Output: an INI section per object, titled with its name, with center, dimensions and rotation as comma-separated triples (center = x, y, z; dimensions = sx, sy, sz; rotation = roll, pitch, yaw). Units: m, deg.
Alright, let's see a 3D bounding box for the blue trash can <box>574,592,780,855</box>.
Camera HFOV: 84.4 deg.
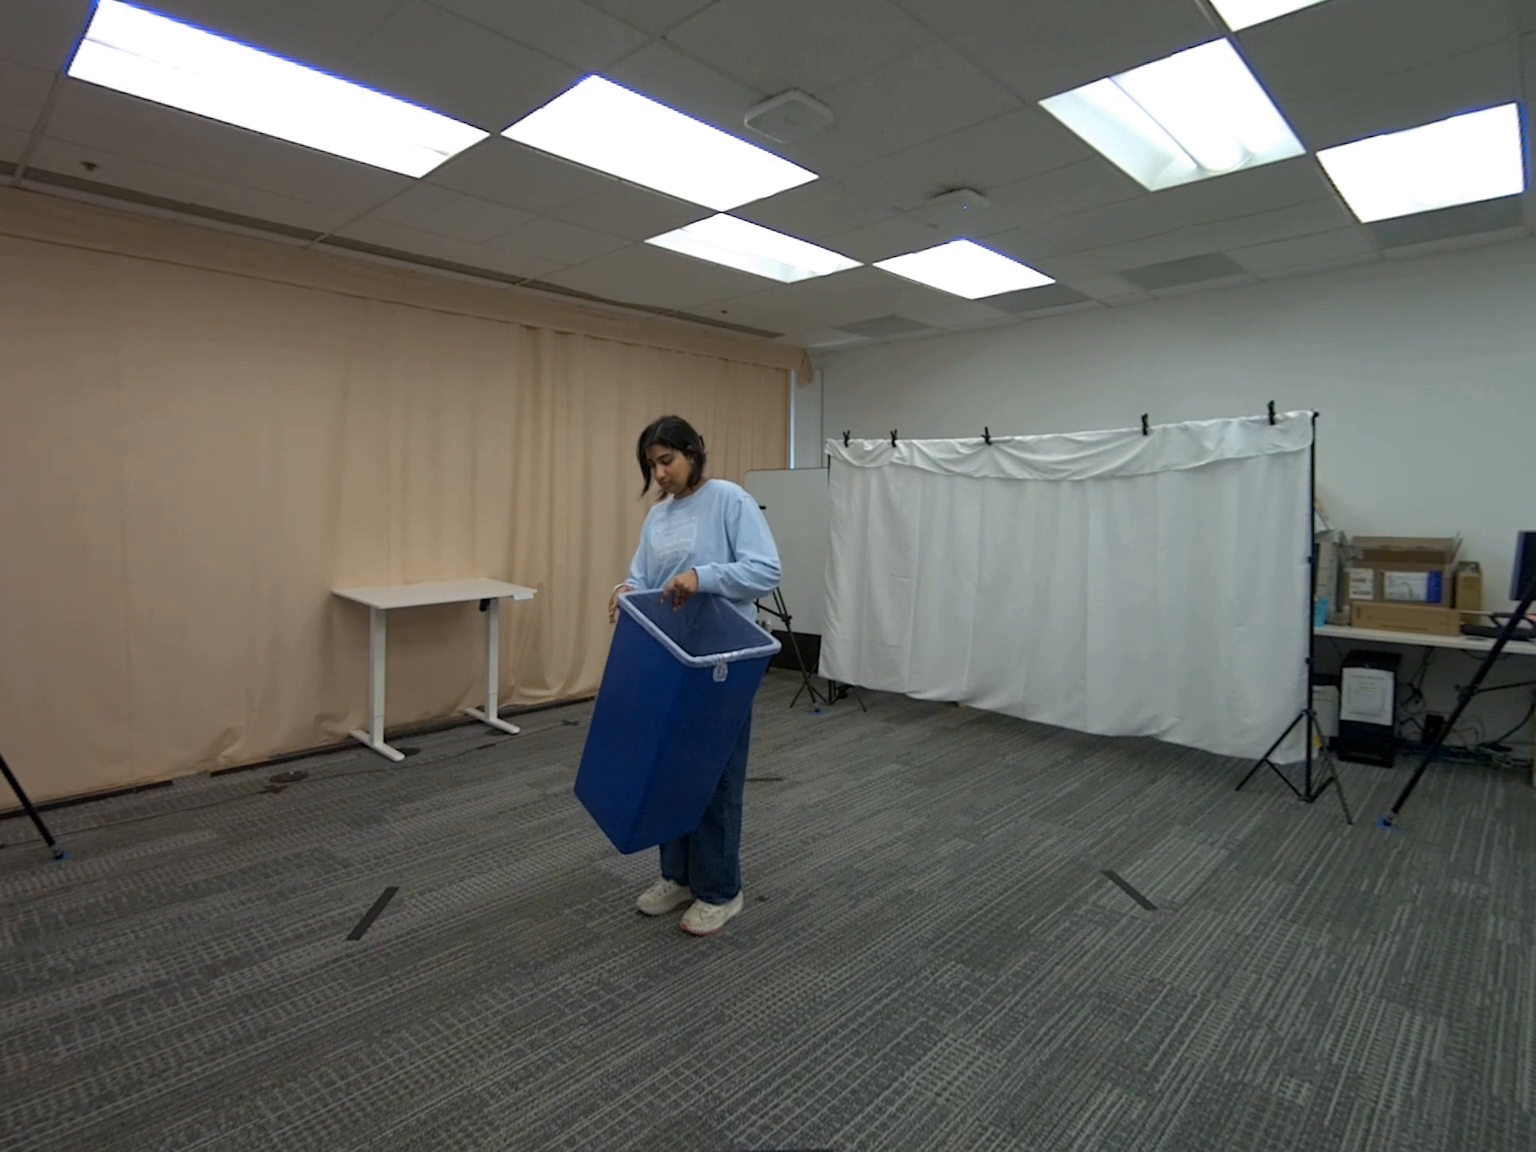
[blue trash can]
center = -0.311, 0.432, 2.548
dimensions = 0.366, 0.710, 0.388
rotation = -2, 30, -45
